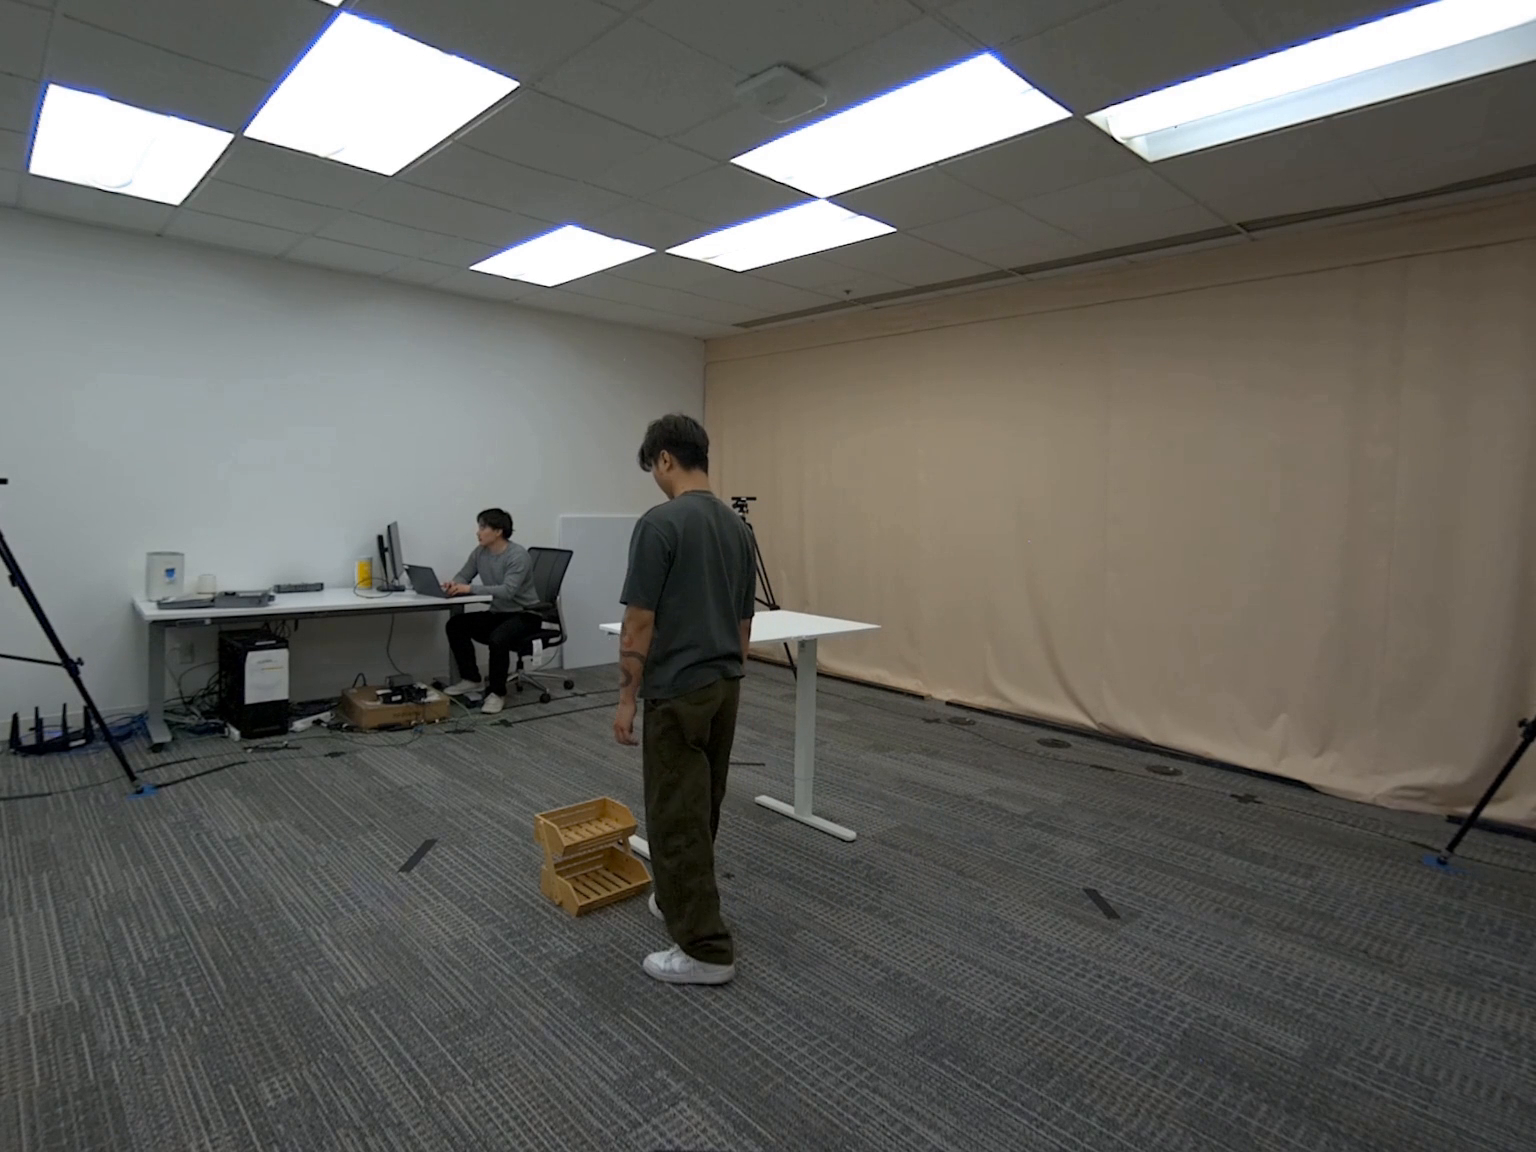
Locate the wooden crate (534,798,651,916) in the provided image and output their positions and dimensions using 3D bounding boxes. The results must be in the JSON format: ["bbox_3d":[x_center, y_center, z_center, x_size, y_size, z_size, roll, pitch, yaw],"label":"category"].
[{"bbox_3d":[-0.622,0.977,2.966,0.317,0.272,0.310,-2,6,-44],"label":"wooden crate"}]
